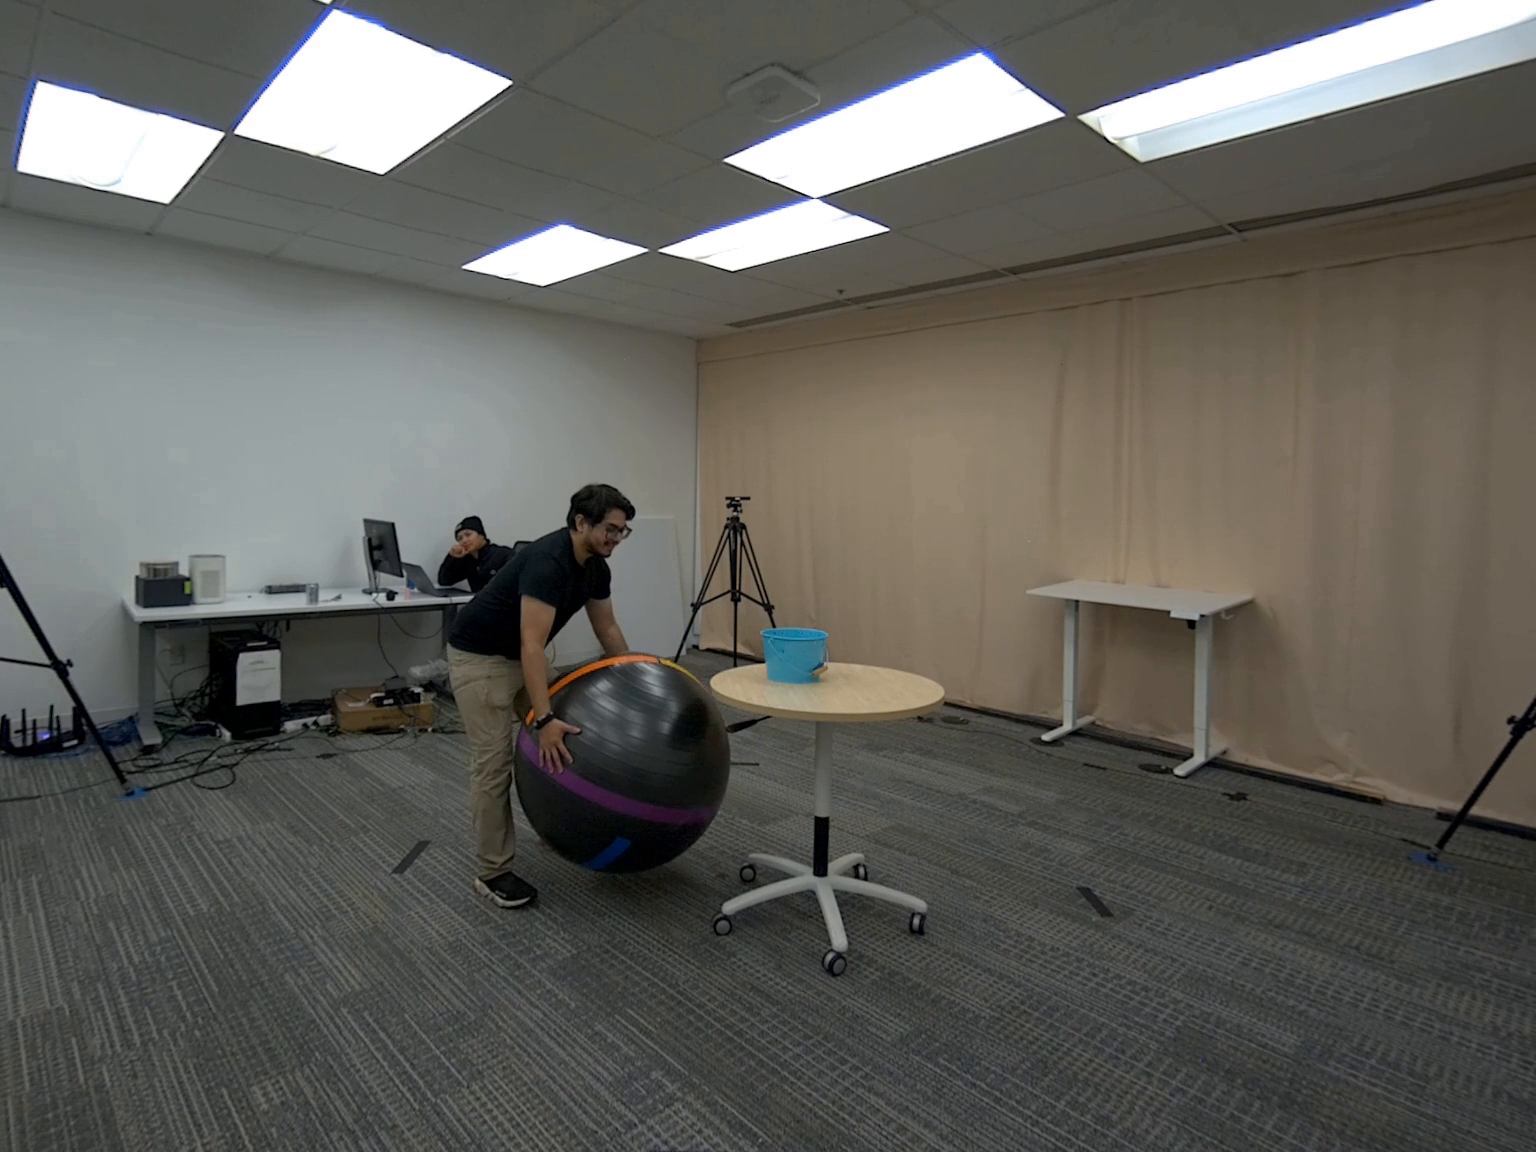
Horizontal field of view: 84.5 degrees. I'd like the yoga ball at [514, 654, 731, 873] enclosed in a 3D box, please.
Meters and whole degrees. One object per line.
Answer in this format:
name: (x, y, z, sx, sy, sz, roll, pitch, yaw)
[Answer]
yoga ball: (-0.515, 0.657, 2.987, 0.757, 0.756, 0.761, 1, 4, -1)
